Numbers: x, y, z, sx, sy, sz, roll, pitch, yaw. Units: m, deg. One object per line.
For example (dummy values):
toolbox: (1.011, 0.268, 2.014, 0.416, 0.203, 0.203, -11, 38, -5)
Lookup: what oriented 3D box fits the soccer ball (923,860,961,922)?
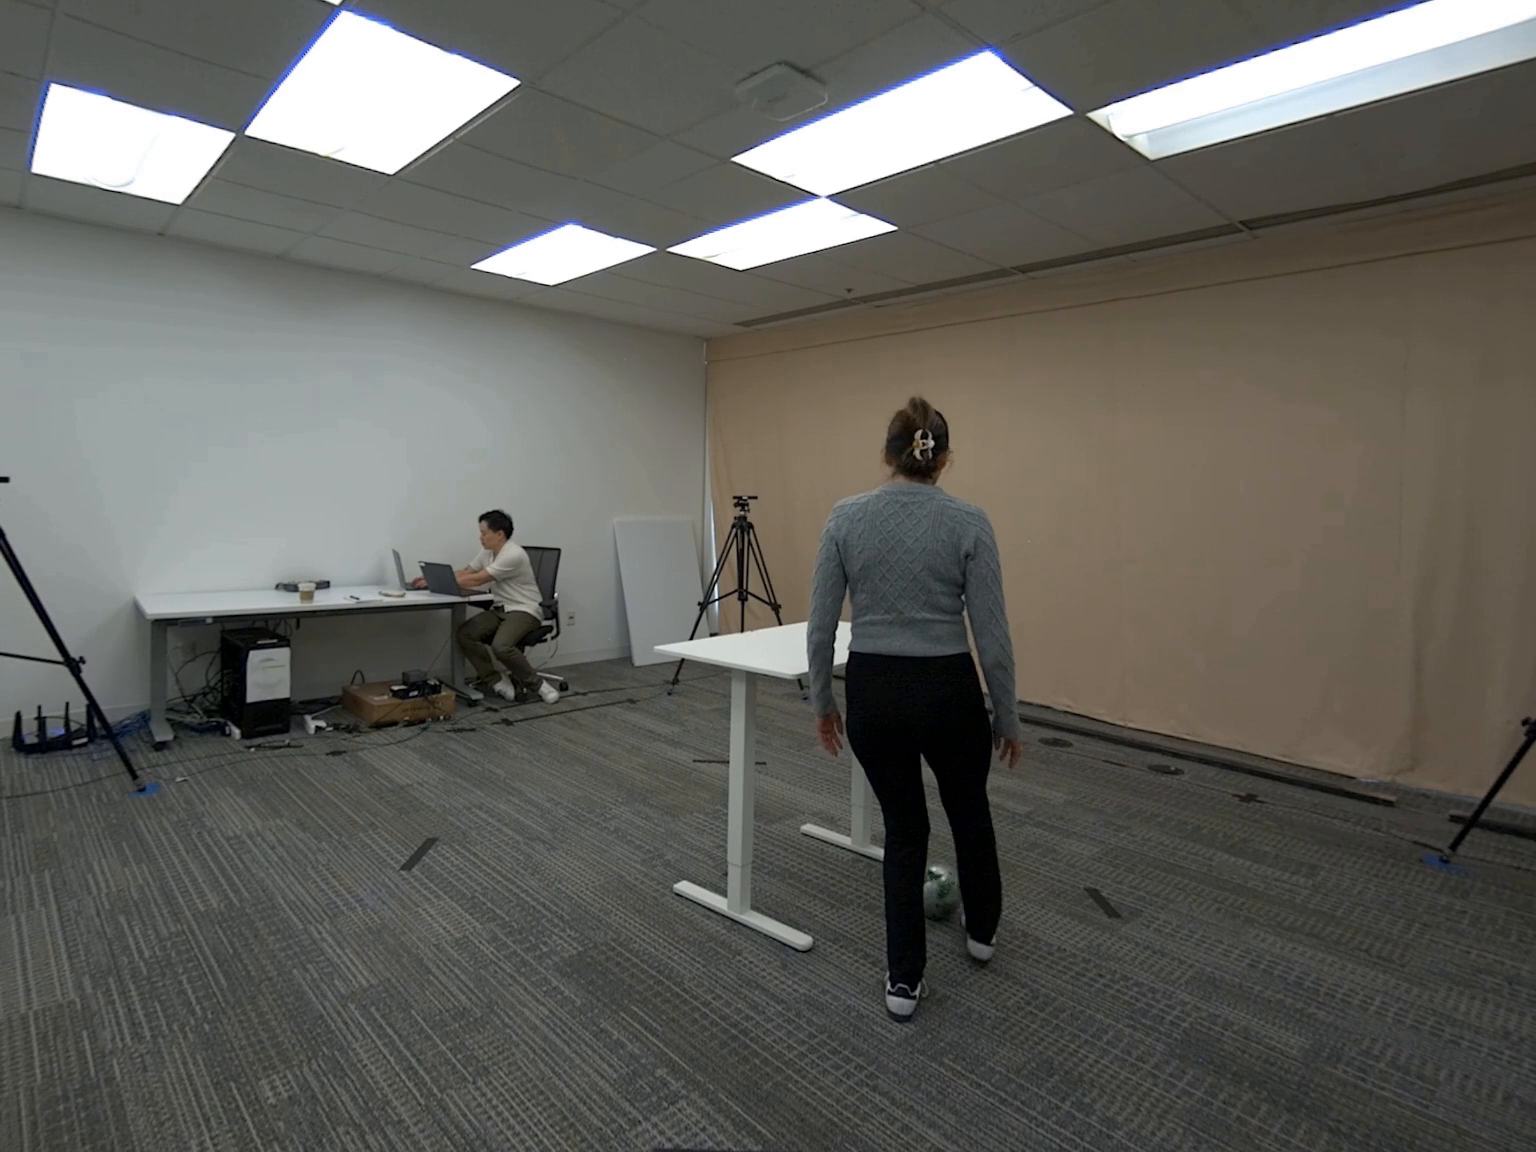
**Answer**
soccer ball: (0.561, 1.053, 2.831, 0.187, 0.187, 0.188, 1, 4, -1)
